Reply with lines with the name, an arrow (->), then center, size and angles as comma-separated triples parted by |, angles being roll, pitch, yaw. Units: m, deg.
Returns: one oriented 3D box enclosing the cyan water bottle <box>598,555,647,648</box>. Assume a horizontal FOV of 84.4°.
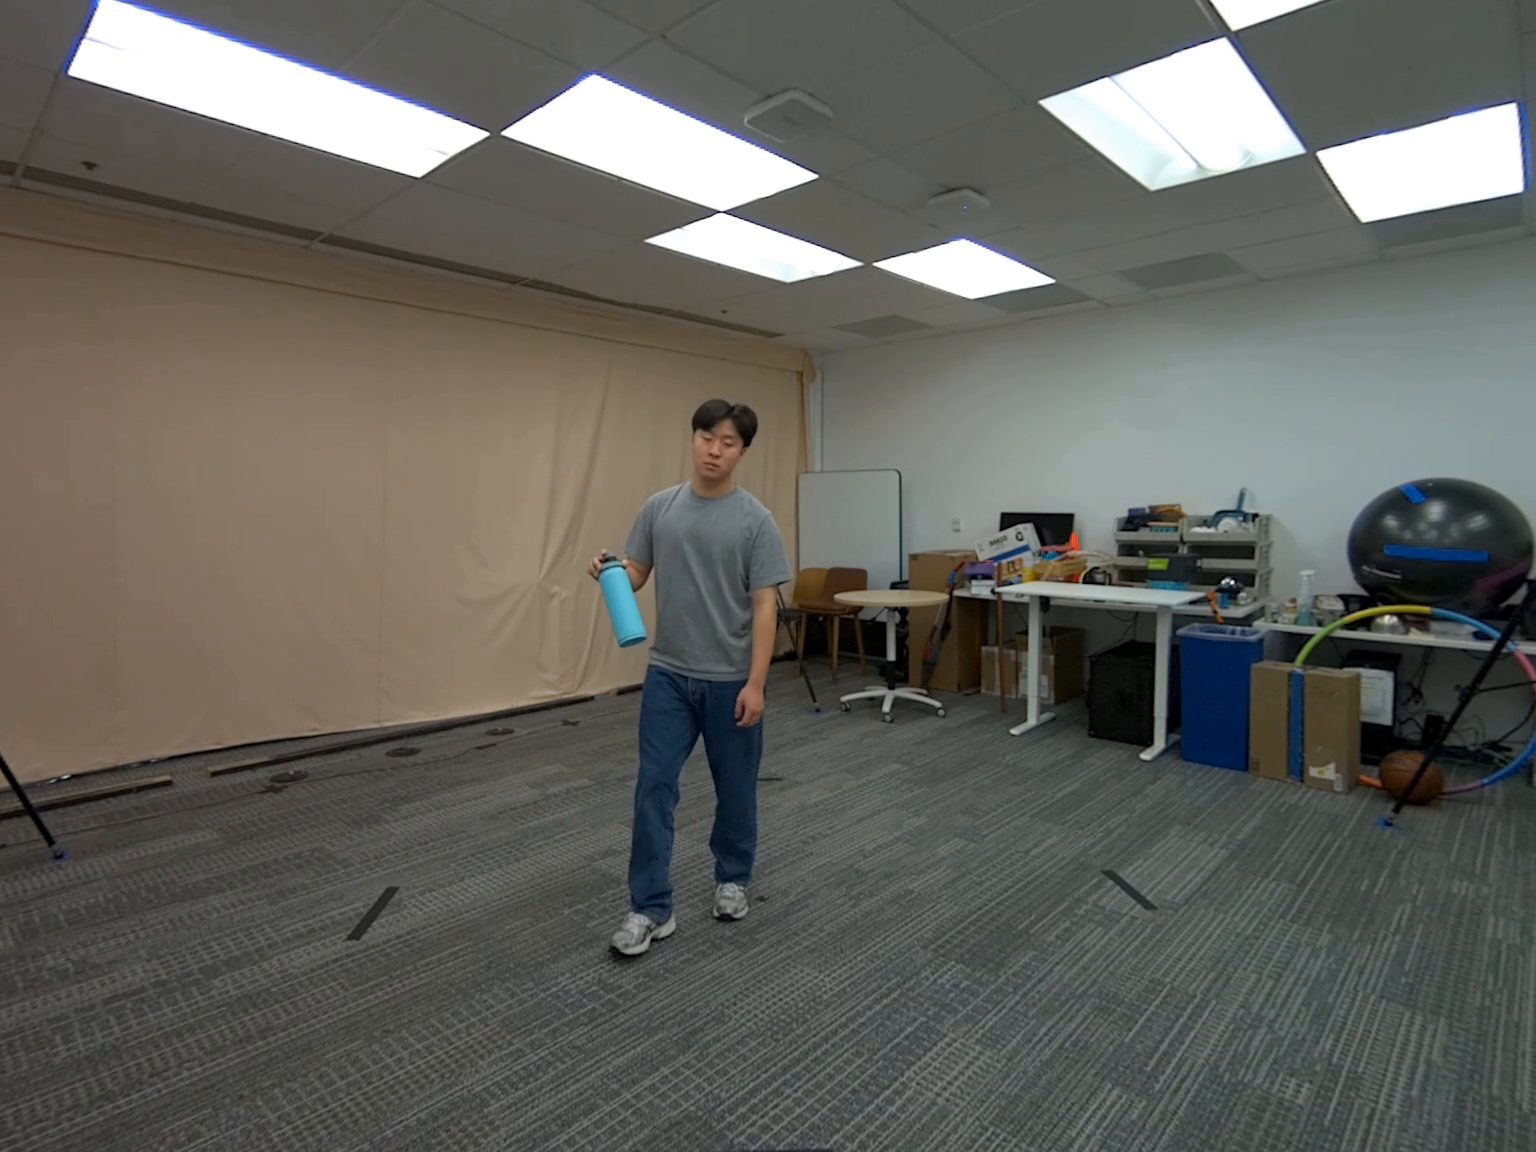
cyan water bottle -> -0.451, 0.089, 2.528 | 0.092, 0.288, 0.091 | -15, -18, -7
